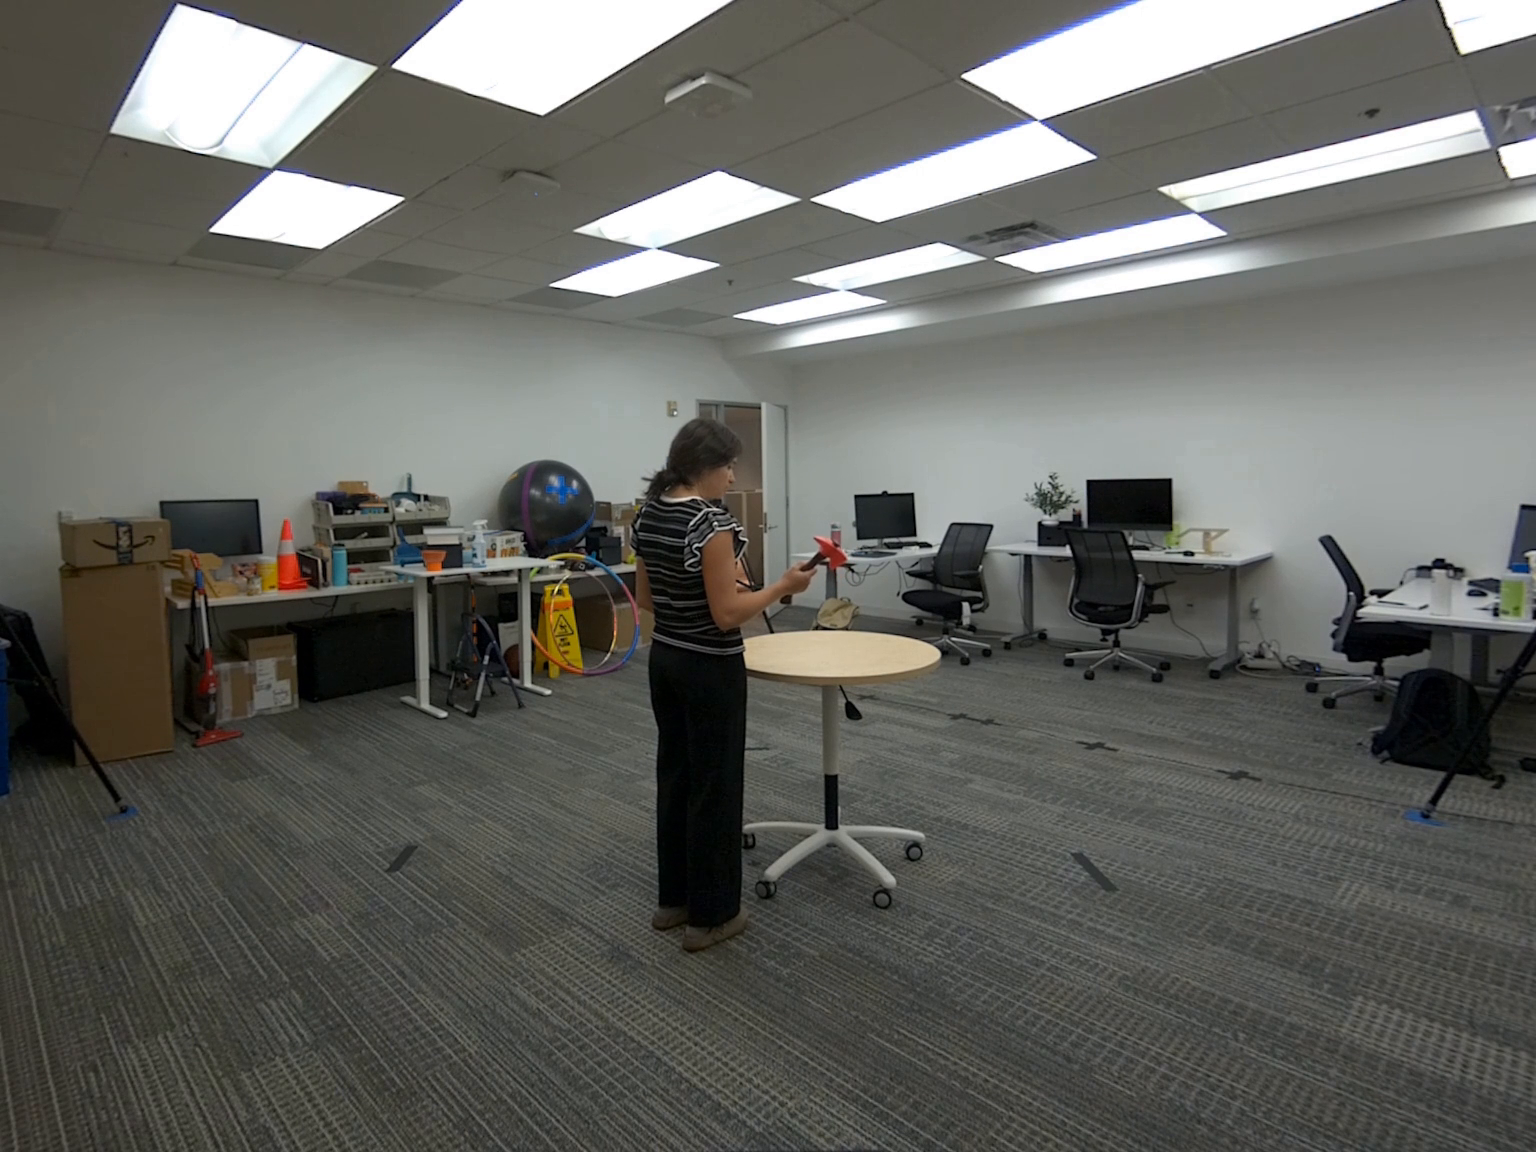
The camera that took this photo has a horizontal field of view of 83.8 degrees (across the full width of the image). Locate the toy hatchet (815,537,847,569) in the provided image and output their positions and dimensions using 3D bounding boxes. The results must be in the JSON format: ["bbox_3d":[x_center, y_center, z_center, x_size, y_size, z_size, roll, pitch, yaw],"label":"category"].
[{"bbox_3d":[0.132,-0.002,2.576,0.128,0.267,0.030,17,34,-17],"label":"toy hatchet"}]
